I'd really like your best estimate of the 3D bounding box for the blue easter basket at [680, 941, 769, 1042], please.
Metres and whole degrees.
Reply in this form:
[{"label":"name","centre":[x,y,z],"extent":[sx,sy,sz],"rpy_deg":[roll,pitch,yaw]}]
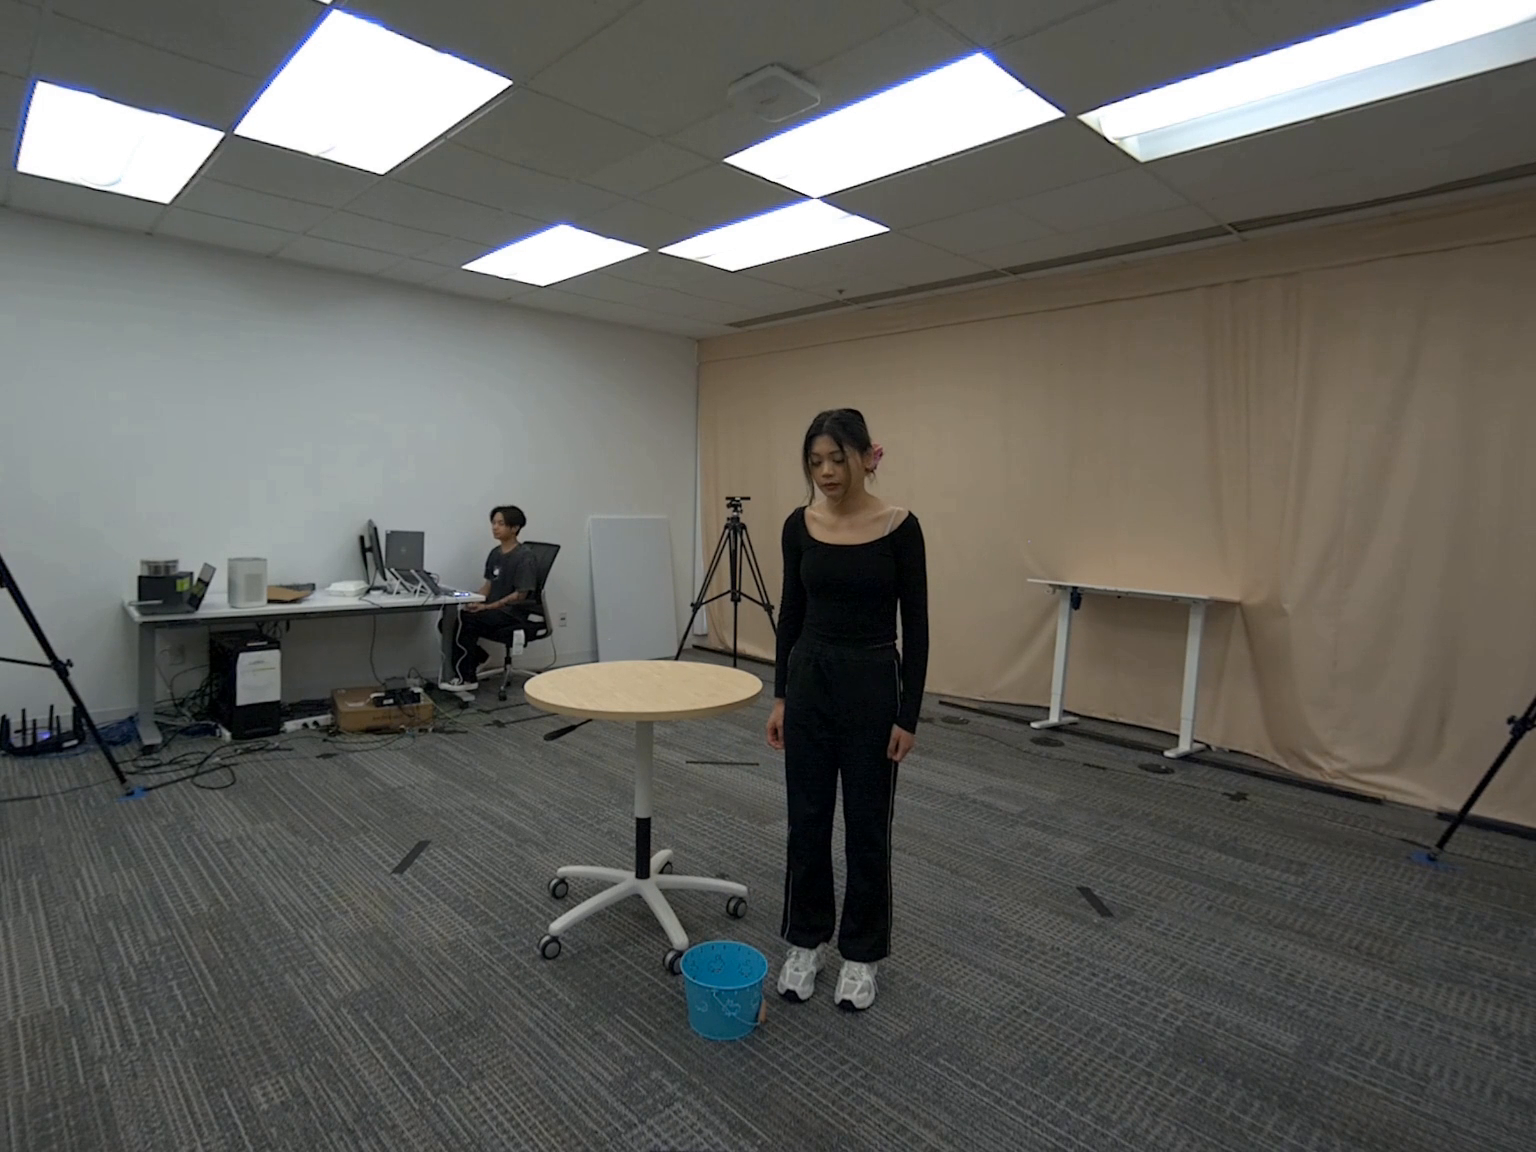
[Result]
[{"label":"blue easter basket","centre":[-0.124,1.110,2.240],"extent":[0.243,0.155,0.244],"rpy_deg":[1,5,-1]}]
